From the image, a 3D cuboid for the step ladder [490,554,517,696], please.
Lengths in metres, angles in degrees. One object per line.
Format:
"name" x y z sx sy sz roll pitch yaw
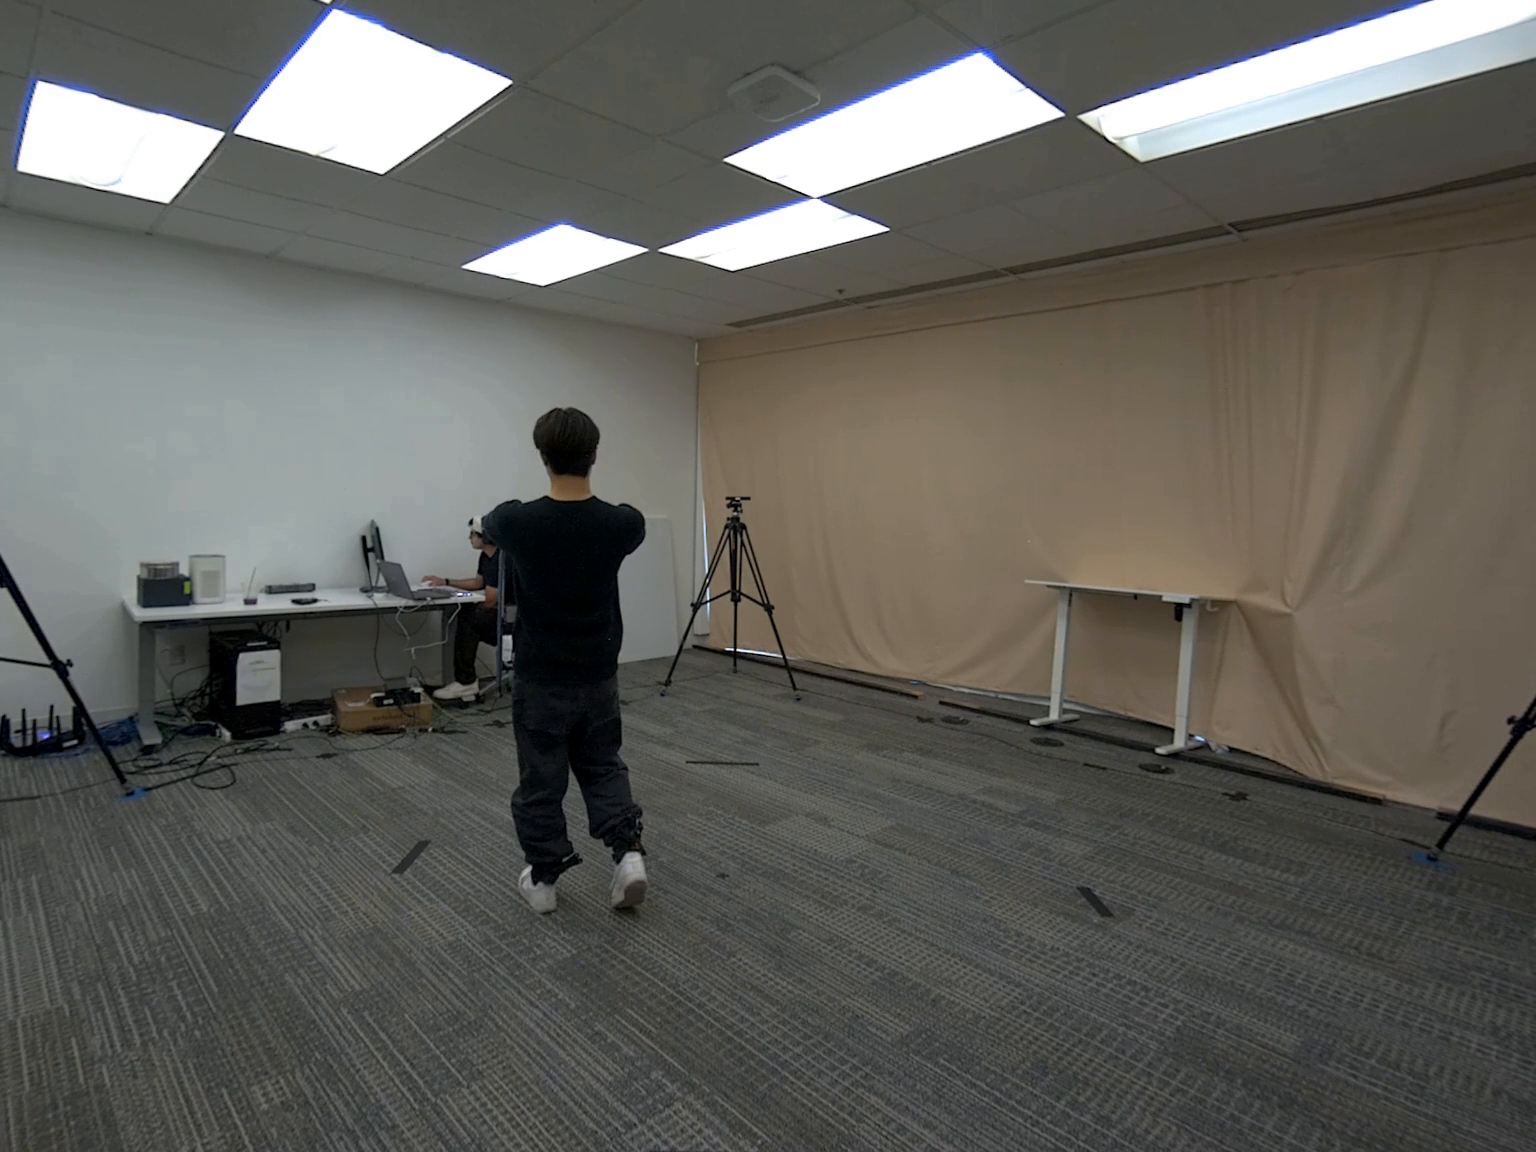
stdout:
"step ladder" -0.806 0.113 3.195 0.425 0.602 0.356 1 10 -18
